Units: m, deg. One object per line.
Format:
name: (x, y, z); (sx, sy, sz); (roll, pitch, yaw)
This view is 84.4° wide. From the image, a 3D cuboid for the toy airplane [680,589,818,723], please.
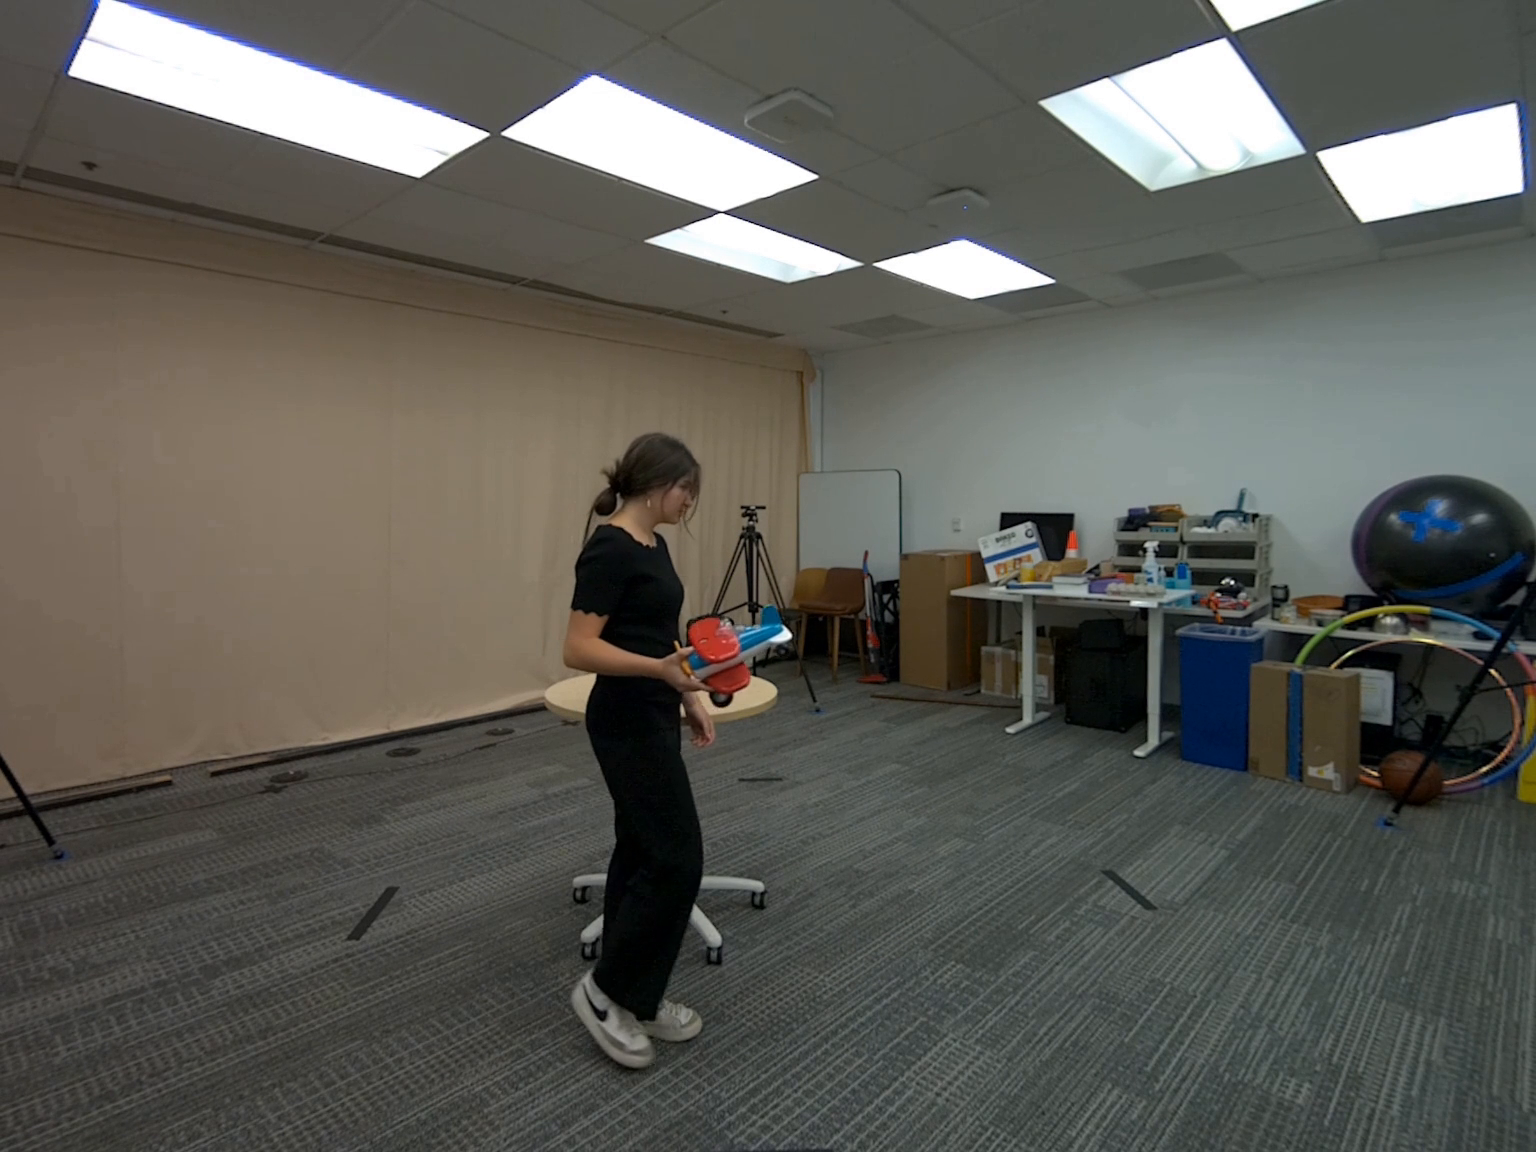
toy airplane: (-0.082, 0.175, 1.975); (0.259, 0.153, 0.257); (-1, 38, 51)
